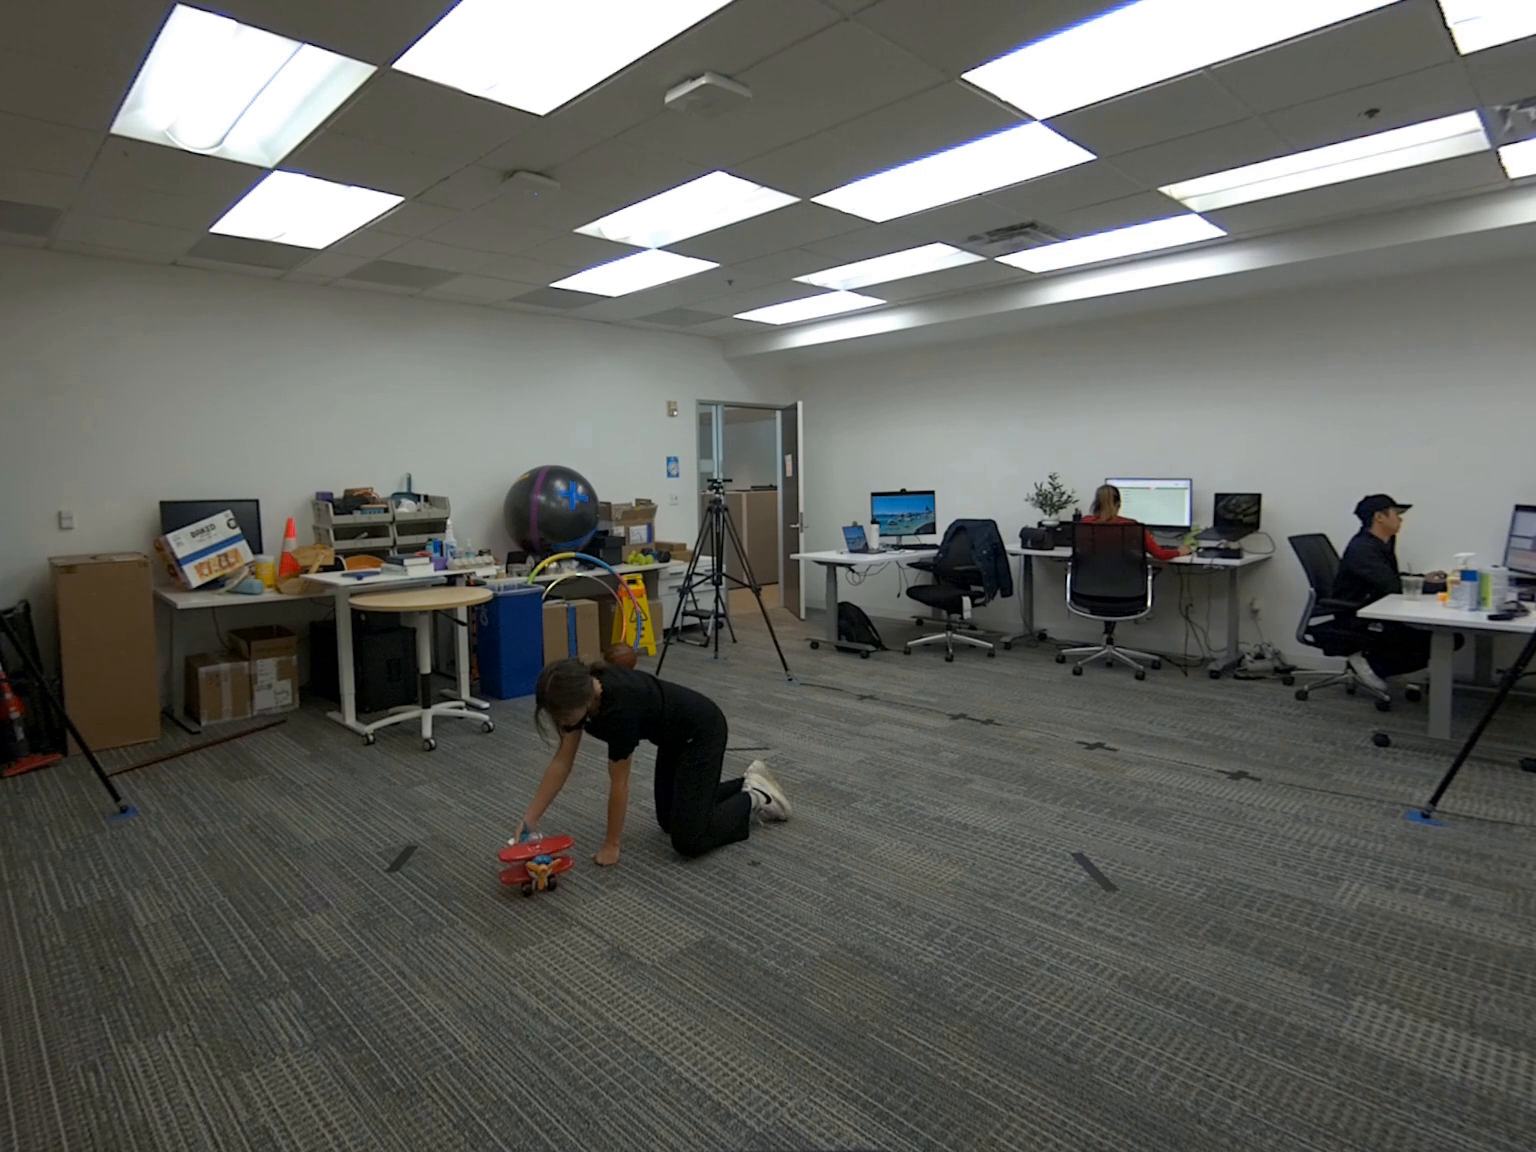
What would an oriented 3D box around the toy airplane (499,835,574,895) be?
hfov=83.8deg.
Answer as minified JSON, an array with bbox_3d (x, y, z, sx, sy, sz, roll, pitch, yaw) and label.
[{"bbox_3d":[-0.831,0.982,2.956,0.267,0.154,0.247,21,26,27],"label":"toy airplane"}]
